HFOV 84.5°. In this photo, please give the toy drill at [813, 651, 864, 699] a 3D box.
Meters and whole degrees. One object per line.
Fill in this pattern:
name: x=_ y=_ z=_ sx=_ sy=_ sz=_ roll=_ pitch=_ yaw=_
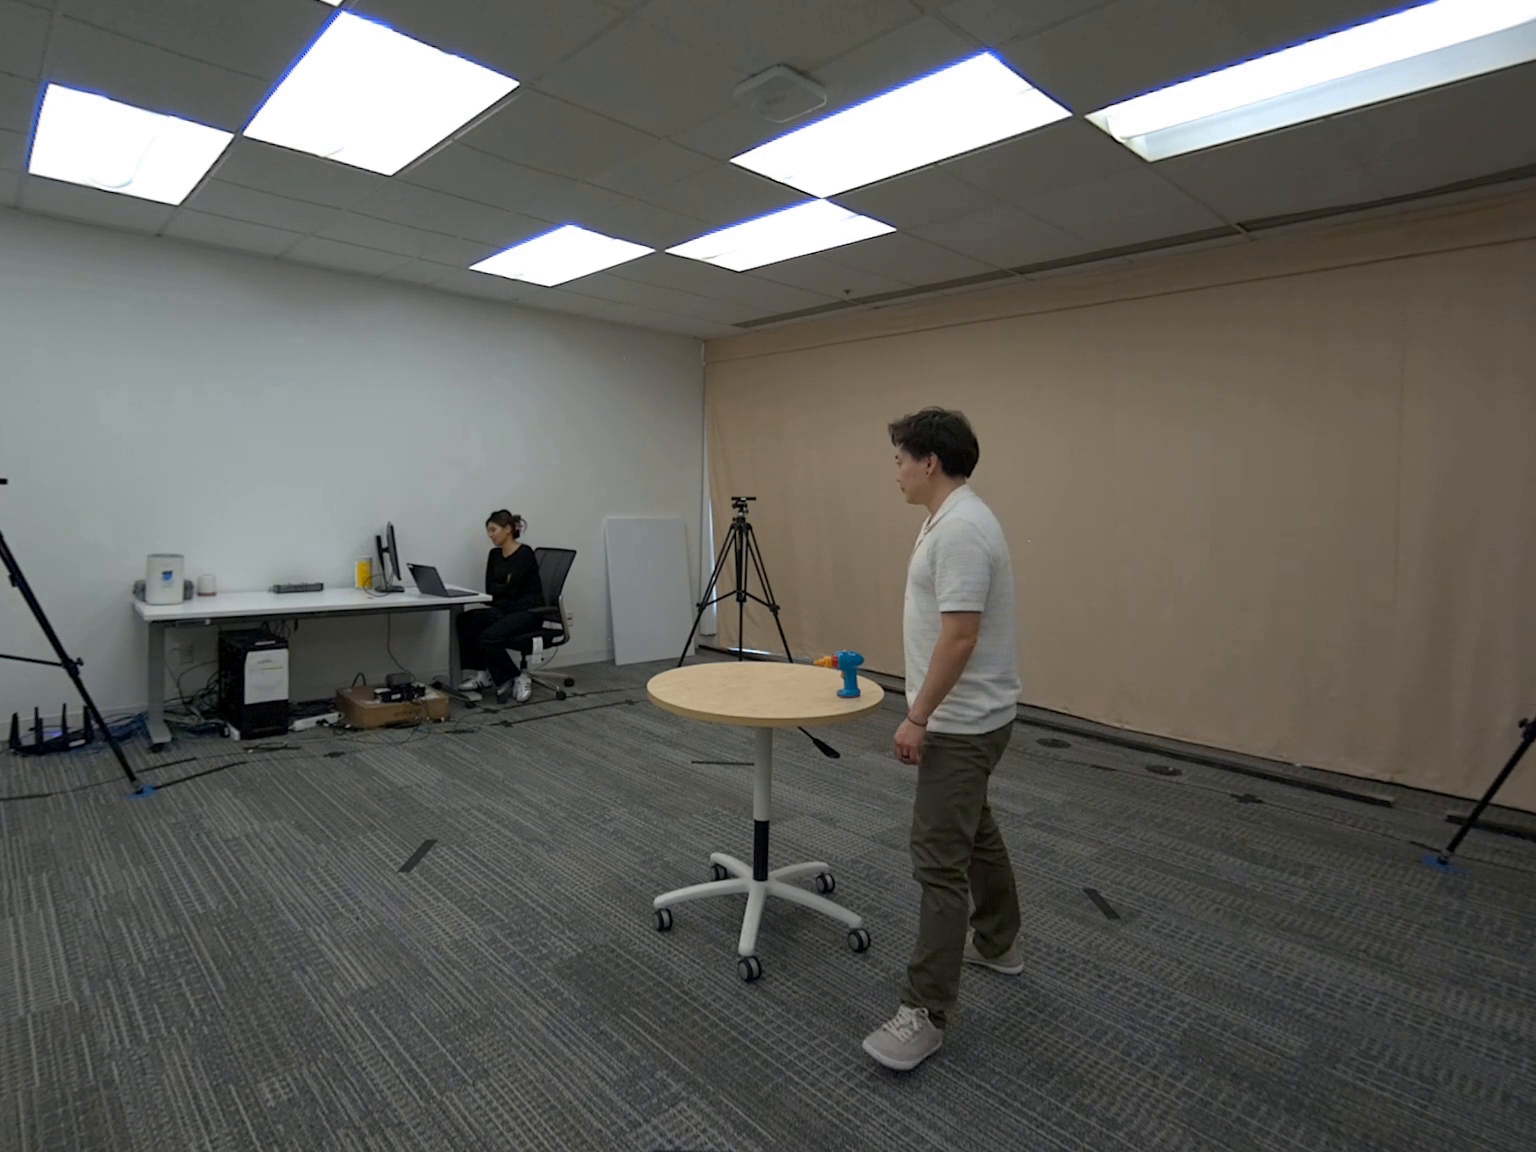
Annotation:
toy drill: x=0.209 y=0.304 z=2.621 sx=0.168 sy=0.145 sz=0.062 roll=-1 pitch=4 yaw=-17
